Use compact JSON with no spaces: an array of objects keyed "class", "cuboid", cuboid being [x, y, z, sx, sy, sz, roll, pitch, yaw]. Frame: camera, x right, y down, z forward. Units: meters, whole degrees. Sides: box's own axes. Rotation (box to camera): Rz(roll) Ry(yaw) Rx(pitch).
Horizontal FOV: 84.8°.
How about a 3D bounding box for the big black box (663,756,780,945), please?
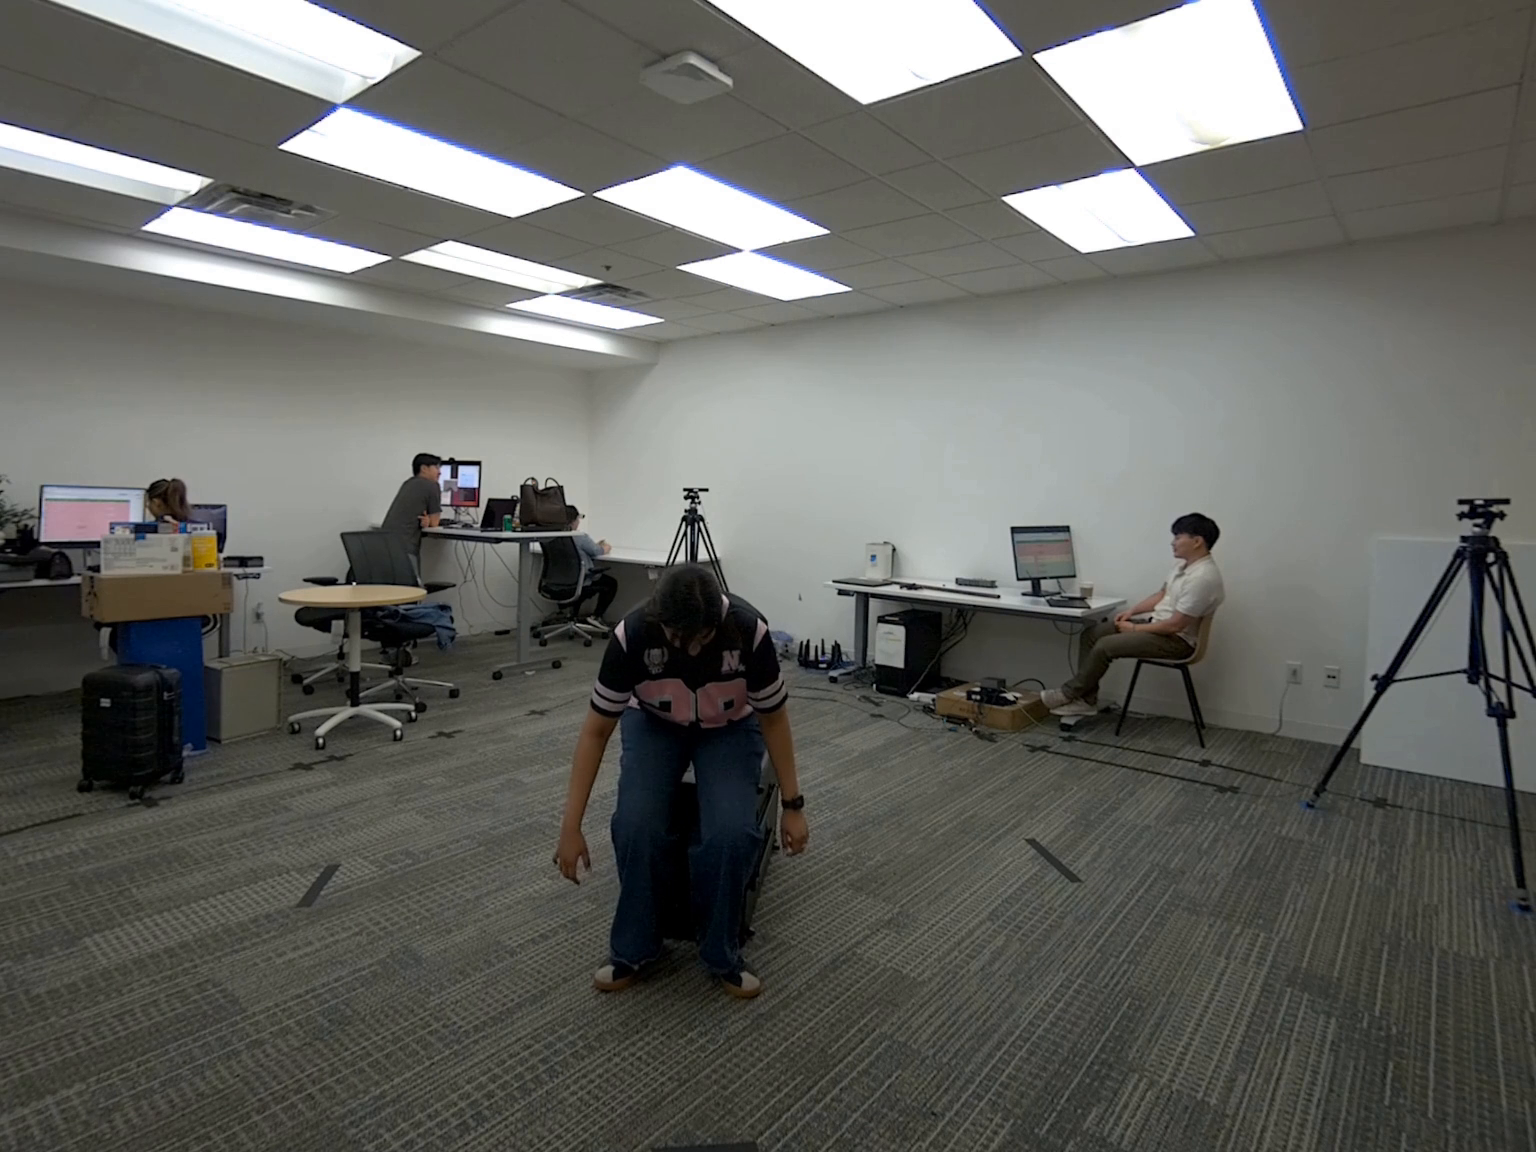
[{"class":"big black box","cuboid":[-0.182,0.819,3.008,0.389,0.521,0.862,2,5,8]}]
